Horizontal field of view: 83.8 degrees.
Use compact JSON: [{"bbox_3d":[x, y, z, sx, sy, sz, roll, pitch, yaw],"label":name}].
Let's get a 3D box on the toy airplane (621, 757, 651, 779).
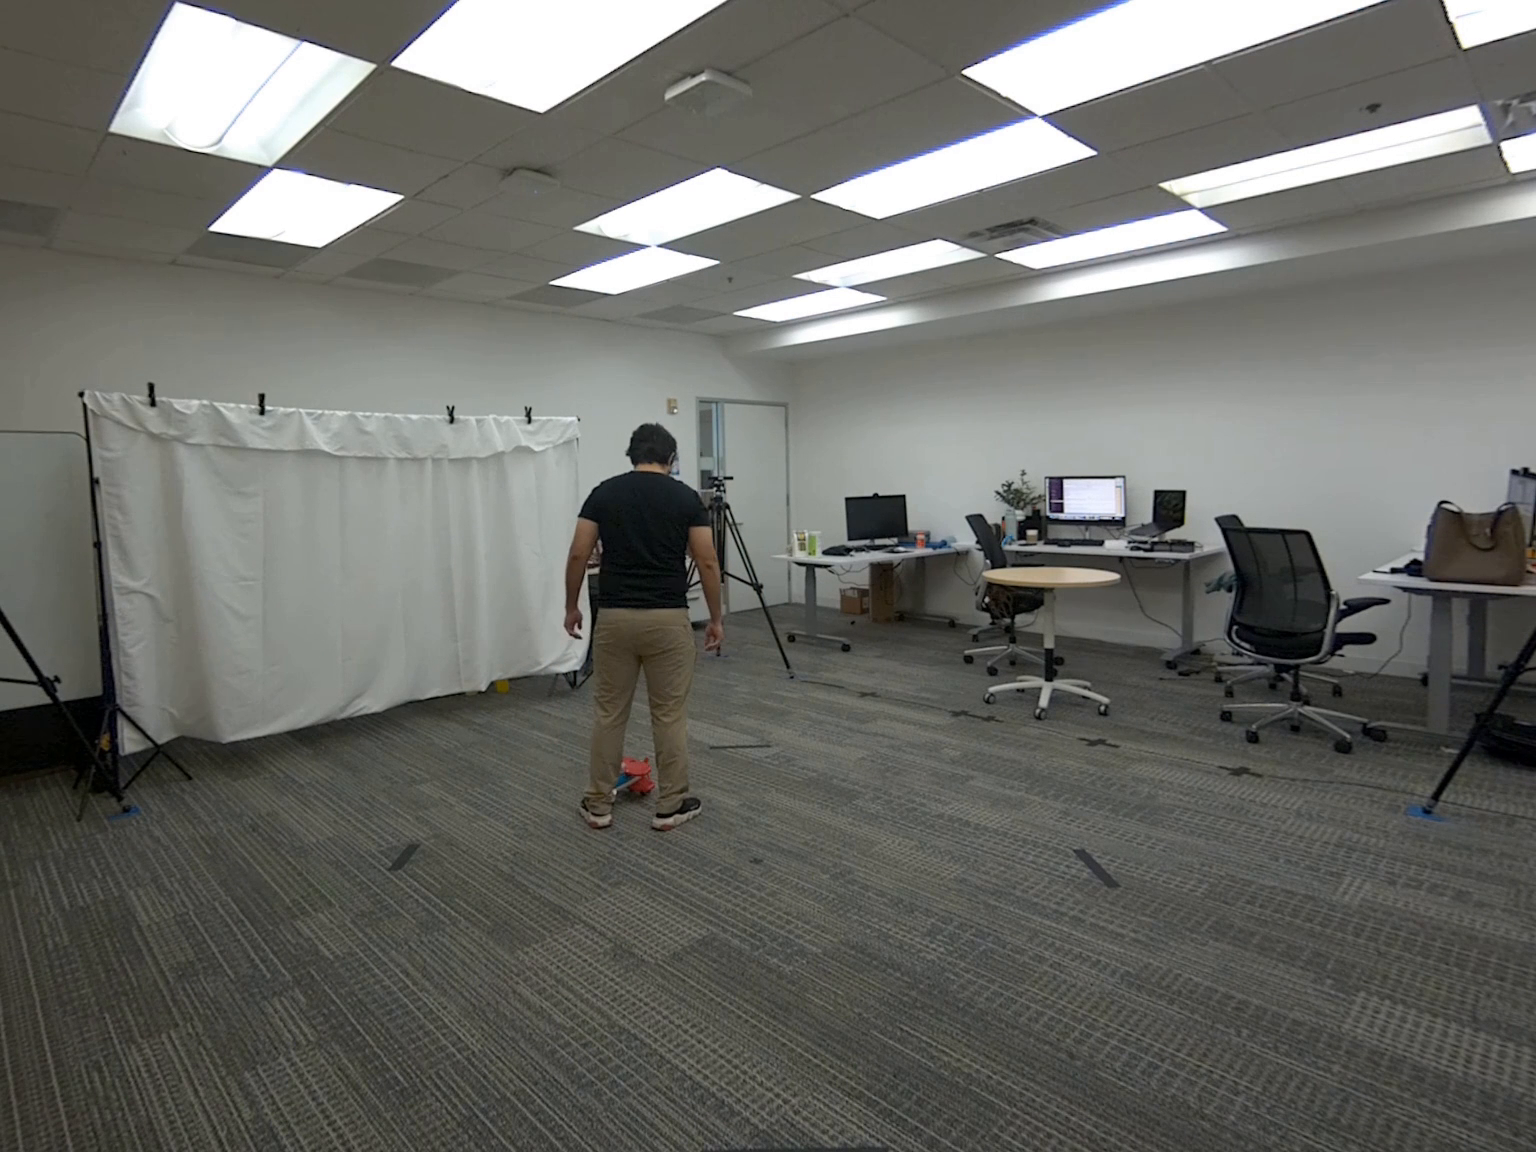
[{"bbox_3d":[-0.613,0.903,3.743,0.254,0.156,0.256,0,4,13],"label":"toy airplane"}]
